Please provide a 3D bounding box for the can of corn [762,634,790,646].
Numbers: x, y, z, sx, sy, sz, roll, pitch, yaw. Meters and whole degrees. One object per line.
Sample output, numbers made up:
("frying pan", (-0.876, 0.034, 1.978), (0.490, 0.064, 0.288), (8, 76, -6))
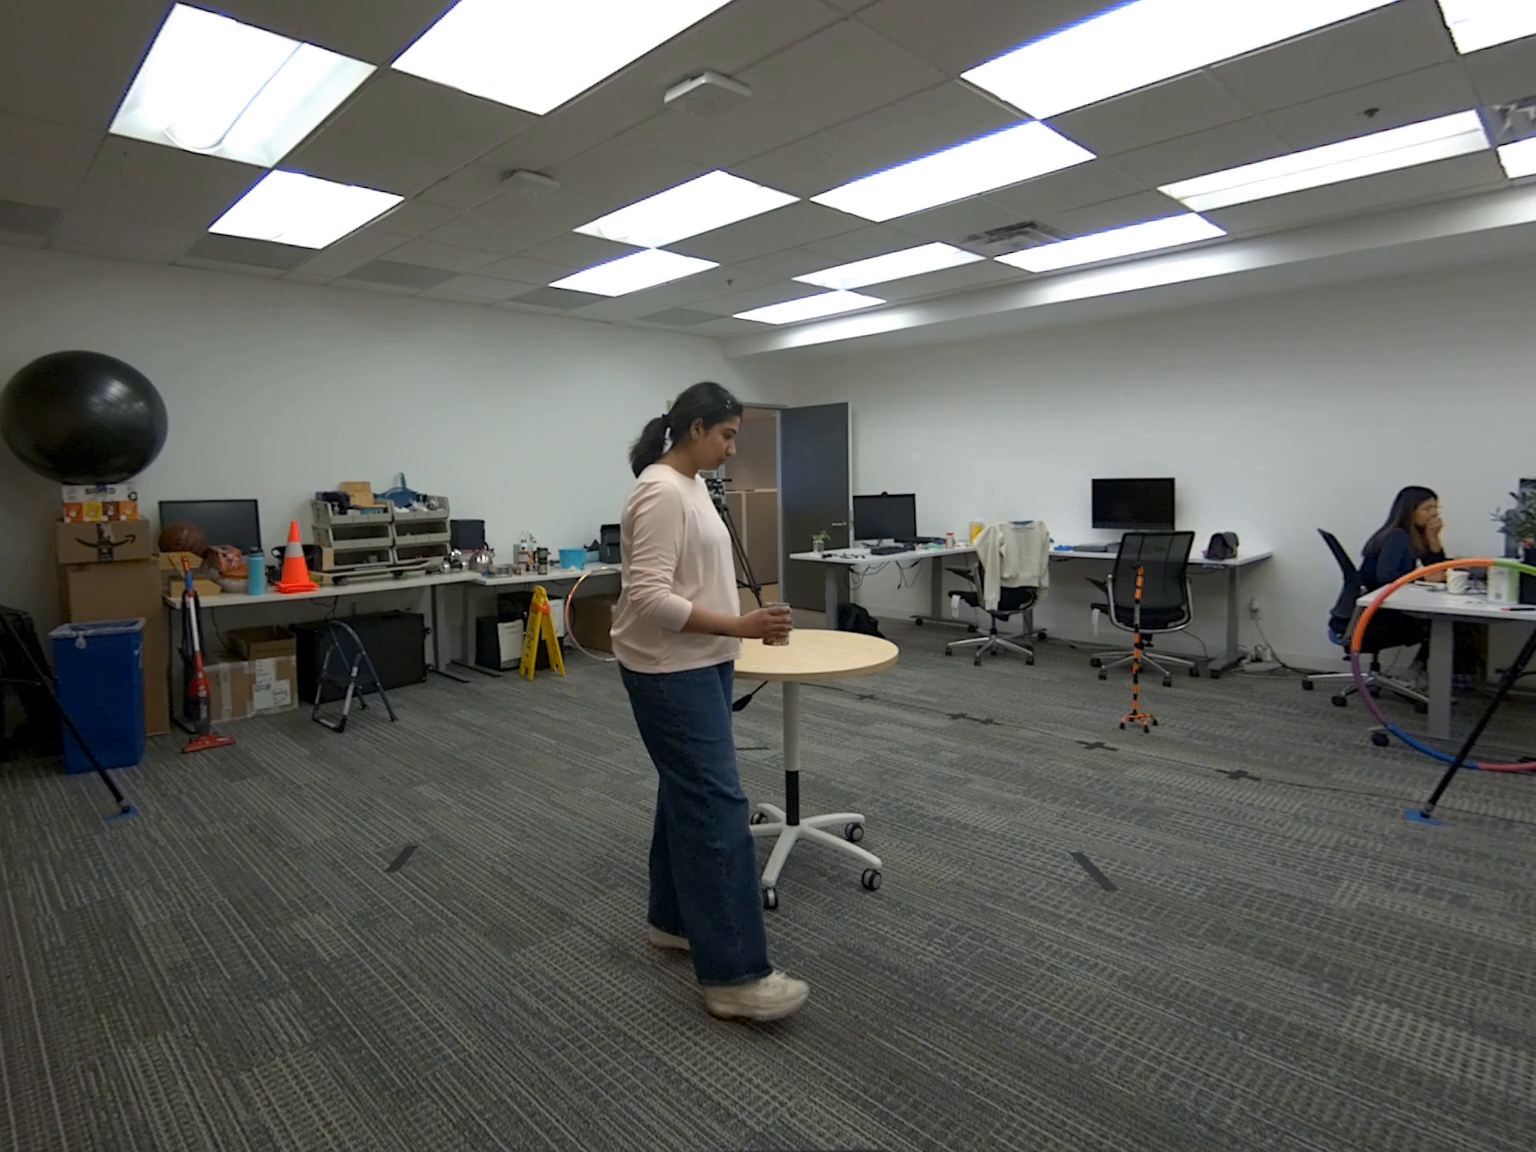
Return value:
("can of corn", (0.024, 0.135, 2.323), (0.074, 0.111, 0.074), (-1, 0, -2))
